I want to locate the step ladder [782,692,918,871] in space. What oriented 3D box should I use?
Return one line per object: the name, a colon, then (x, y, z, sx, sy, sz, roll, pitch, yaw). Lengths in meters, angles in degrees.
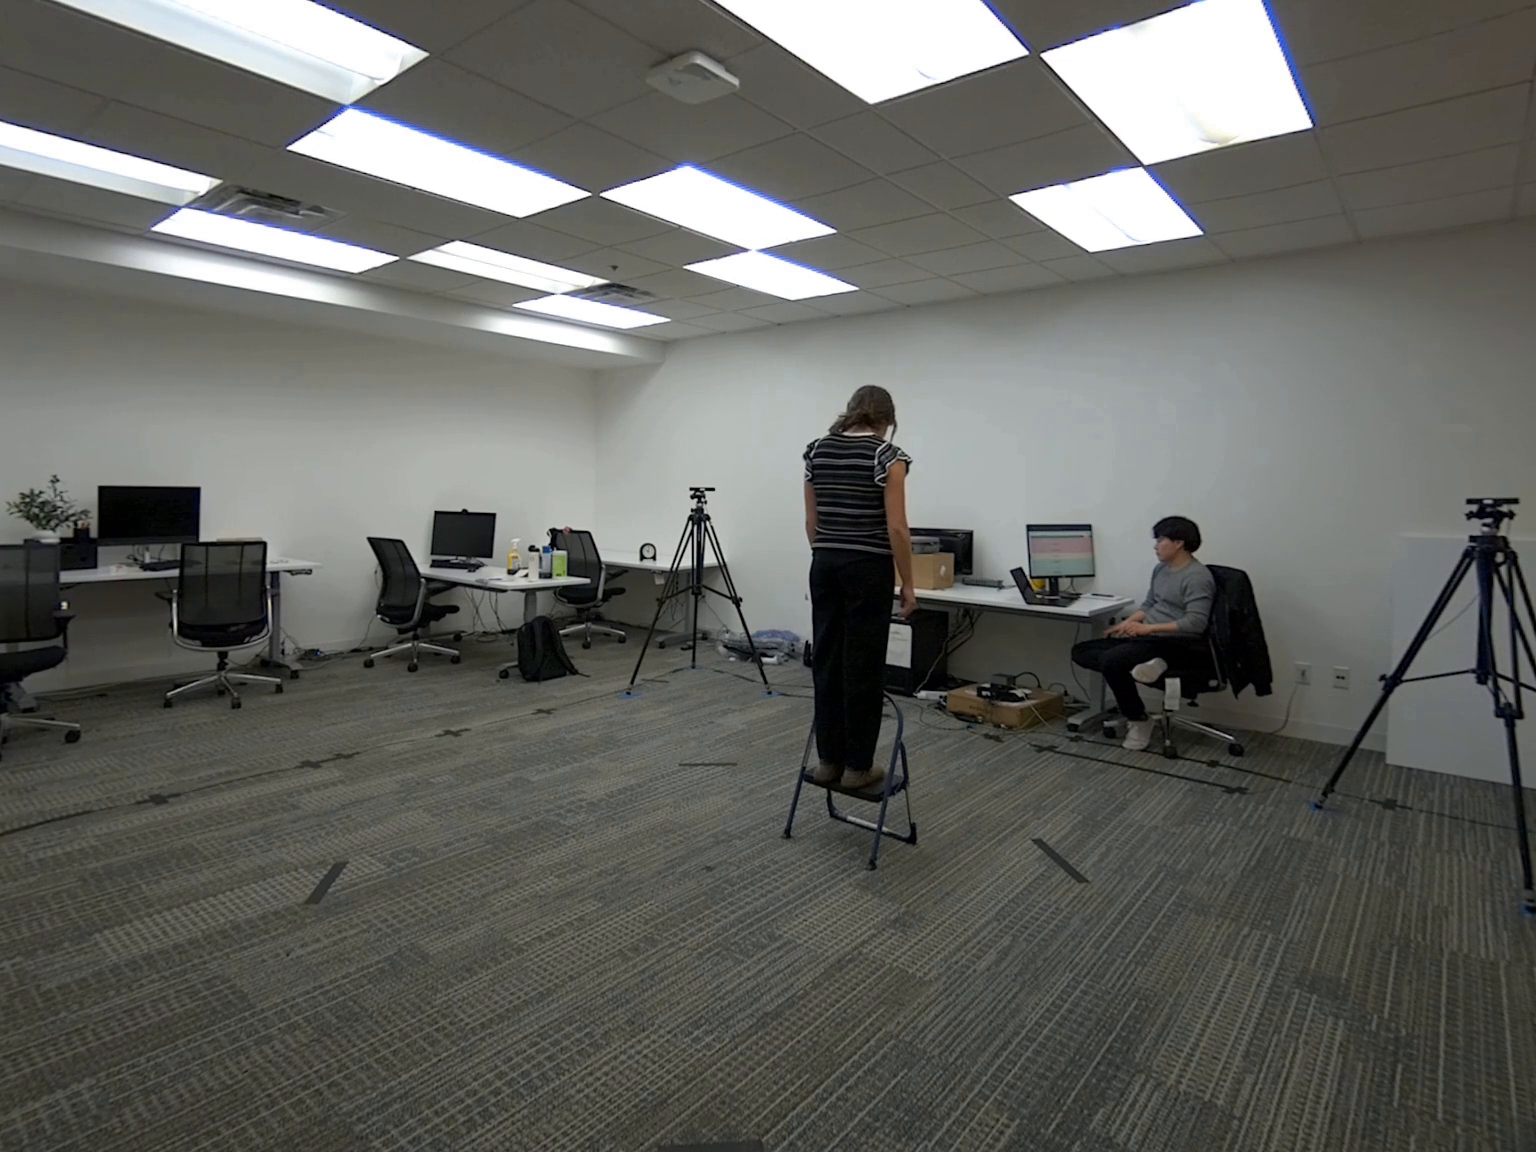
step ladder: (0.327, 0.750, 3.376, 0.445, 0.604, 0.339, 5, 5, 40)
